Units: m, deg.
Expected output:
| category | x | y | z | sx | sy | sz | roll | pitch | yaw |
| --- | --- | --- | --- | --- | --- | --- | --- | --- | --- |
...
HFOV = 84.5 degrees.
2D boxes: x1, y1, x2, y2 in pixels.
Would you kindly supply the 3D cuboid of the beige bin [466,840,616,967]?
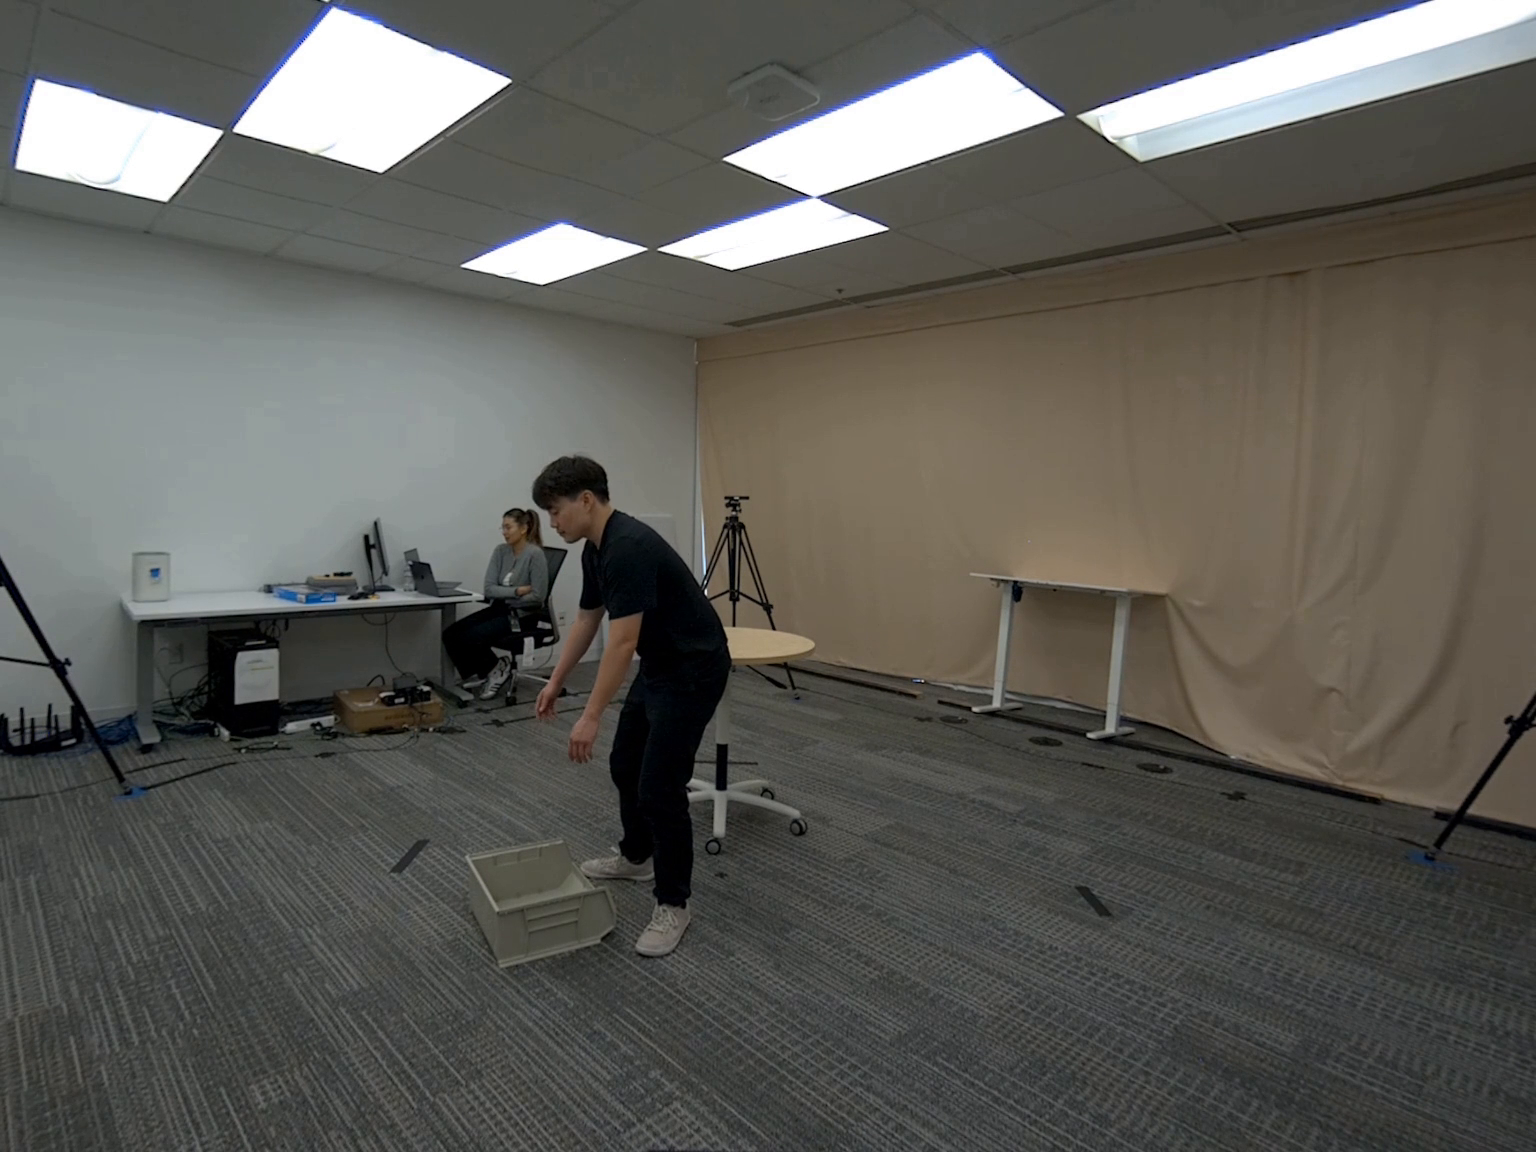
| category | x | y | z | sx | sy | sz | roll | pitch | yaw |
| --- | --- | --- | --- | --- | --- | --- | --- | --- | --- |
| beige bin | -0.750 | 1.042 | 2.714 | 0.370 | 0.188 | 0.432 | -2 | 6 | -31 |
